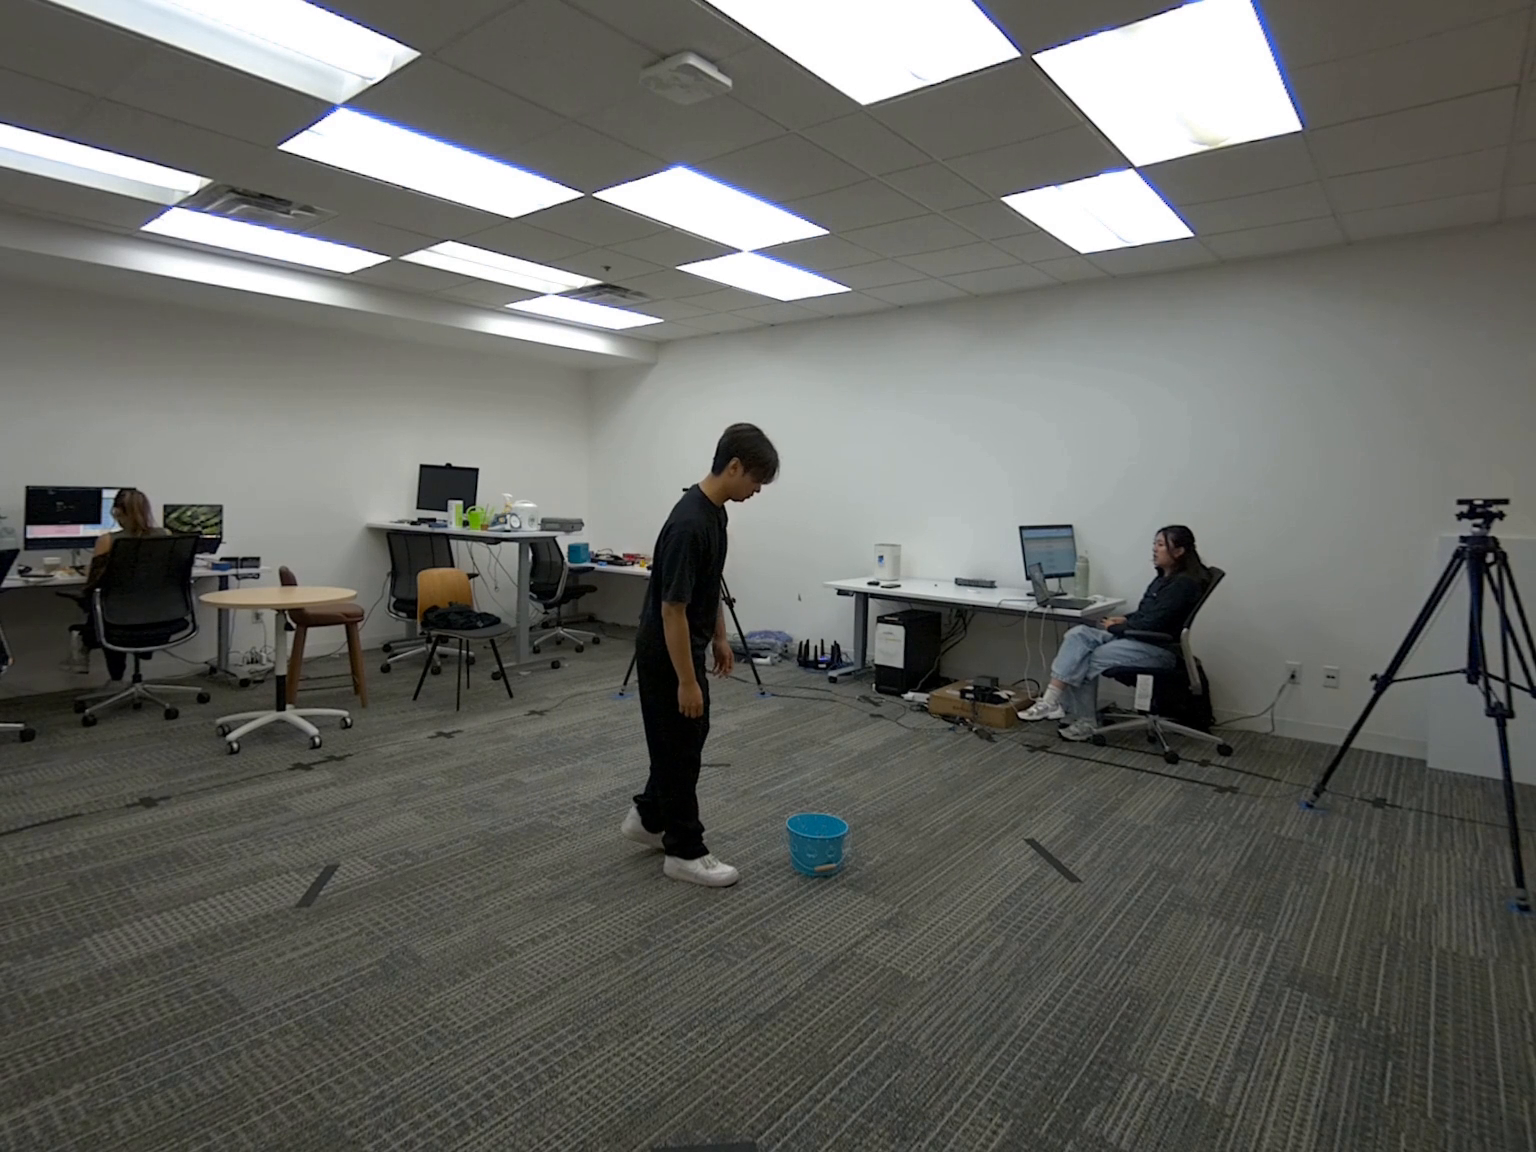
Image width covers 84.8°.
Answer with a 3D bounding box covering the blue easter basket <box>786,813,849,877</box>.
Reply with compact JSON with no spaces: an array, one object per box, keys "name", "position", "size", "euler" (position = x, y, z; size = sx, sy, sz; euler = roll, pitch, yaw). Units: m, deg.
[{"name":"blue easter basket","position":[0.179,0.999,3.166],"size":[0.243,0.155,0.245],"euler":[1,5,-2]}]
